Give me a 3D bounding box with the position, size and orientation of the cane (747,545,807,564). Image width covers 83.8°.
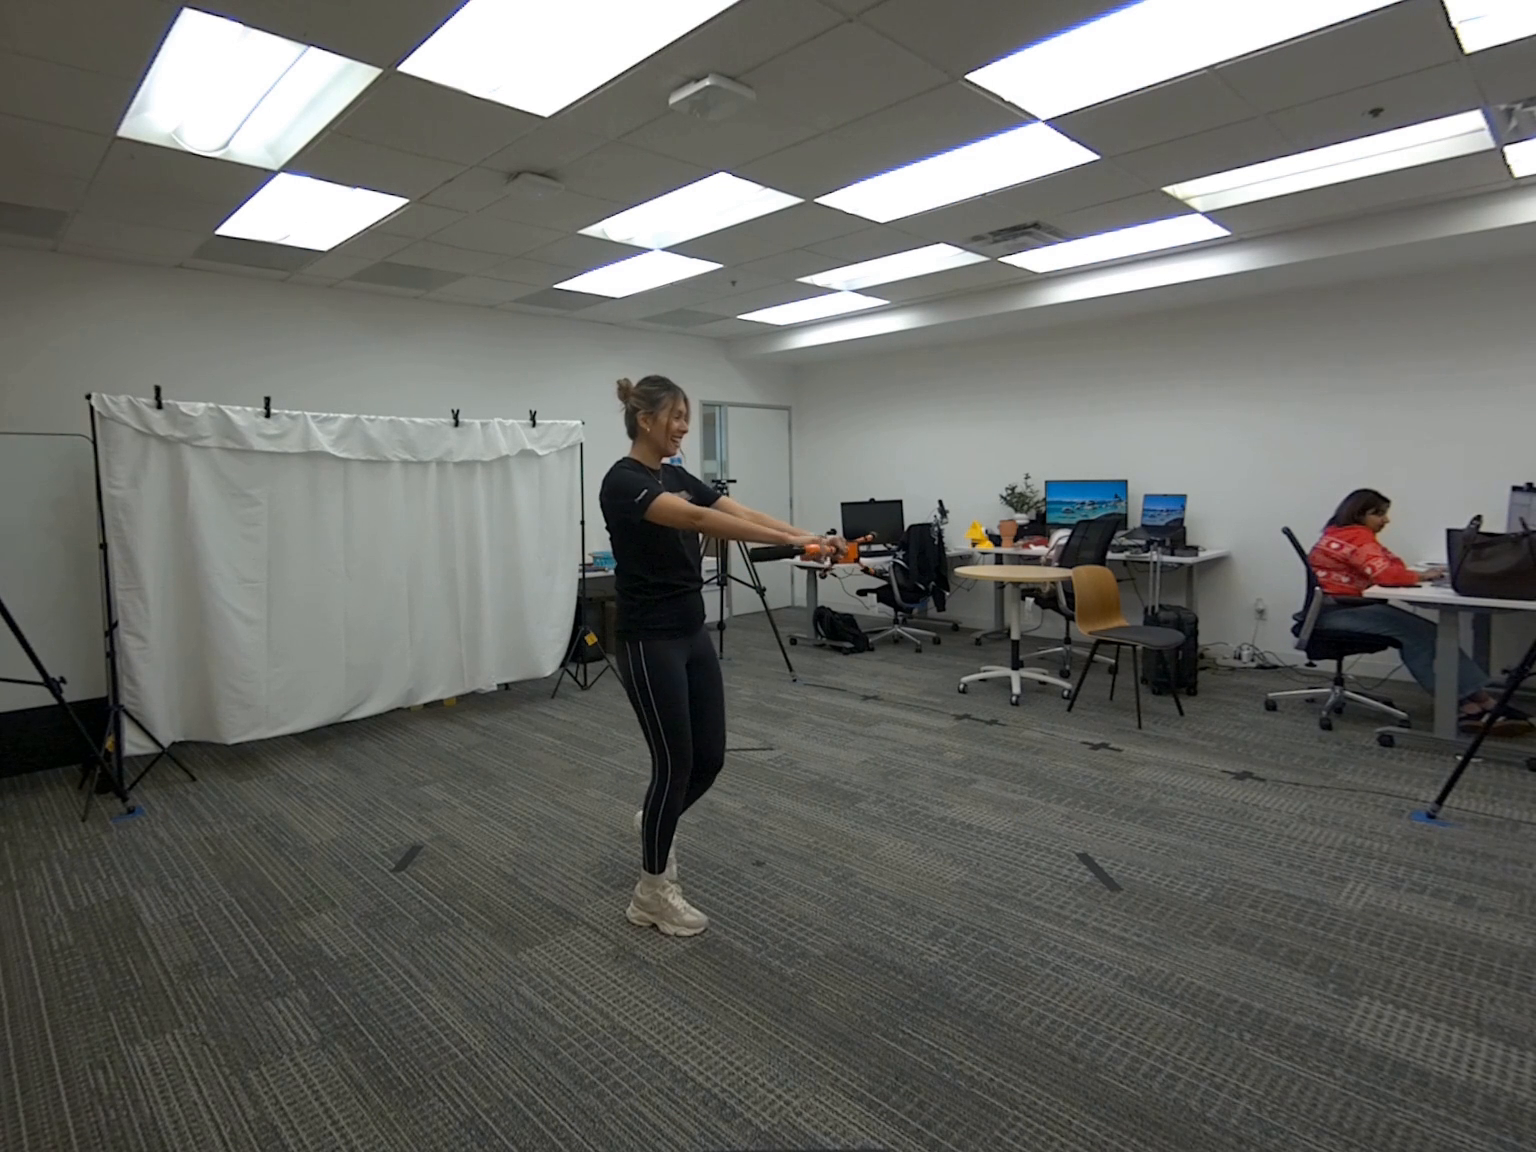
[{"bbox_3d":[0.159,-0.055,2.469,0.209,0.152,0.893,-6,0,15],"label":"cane"}]
